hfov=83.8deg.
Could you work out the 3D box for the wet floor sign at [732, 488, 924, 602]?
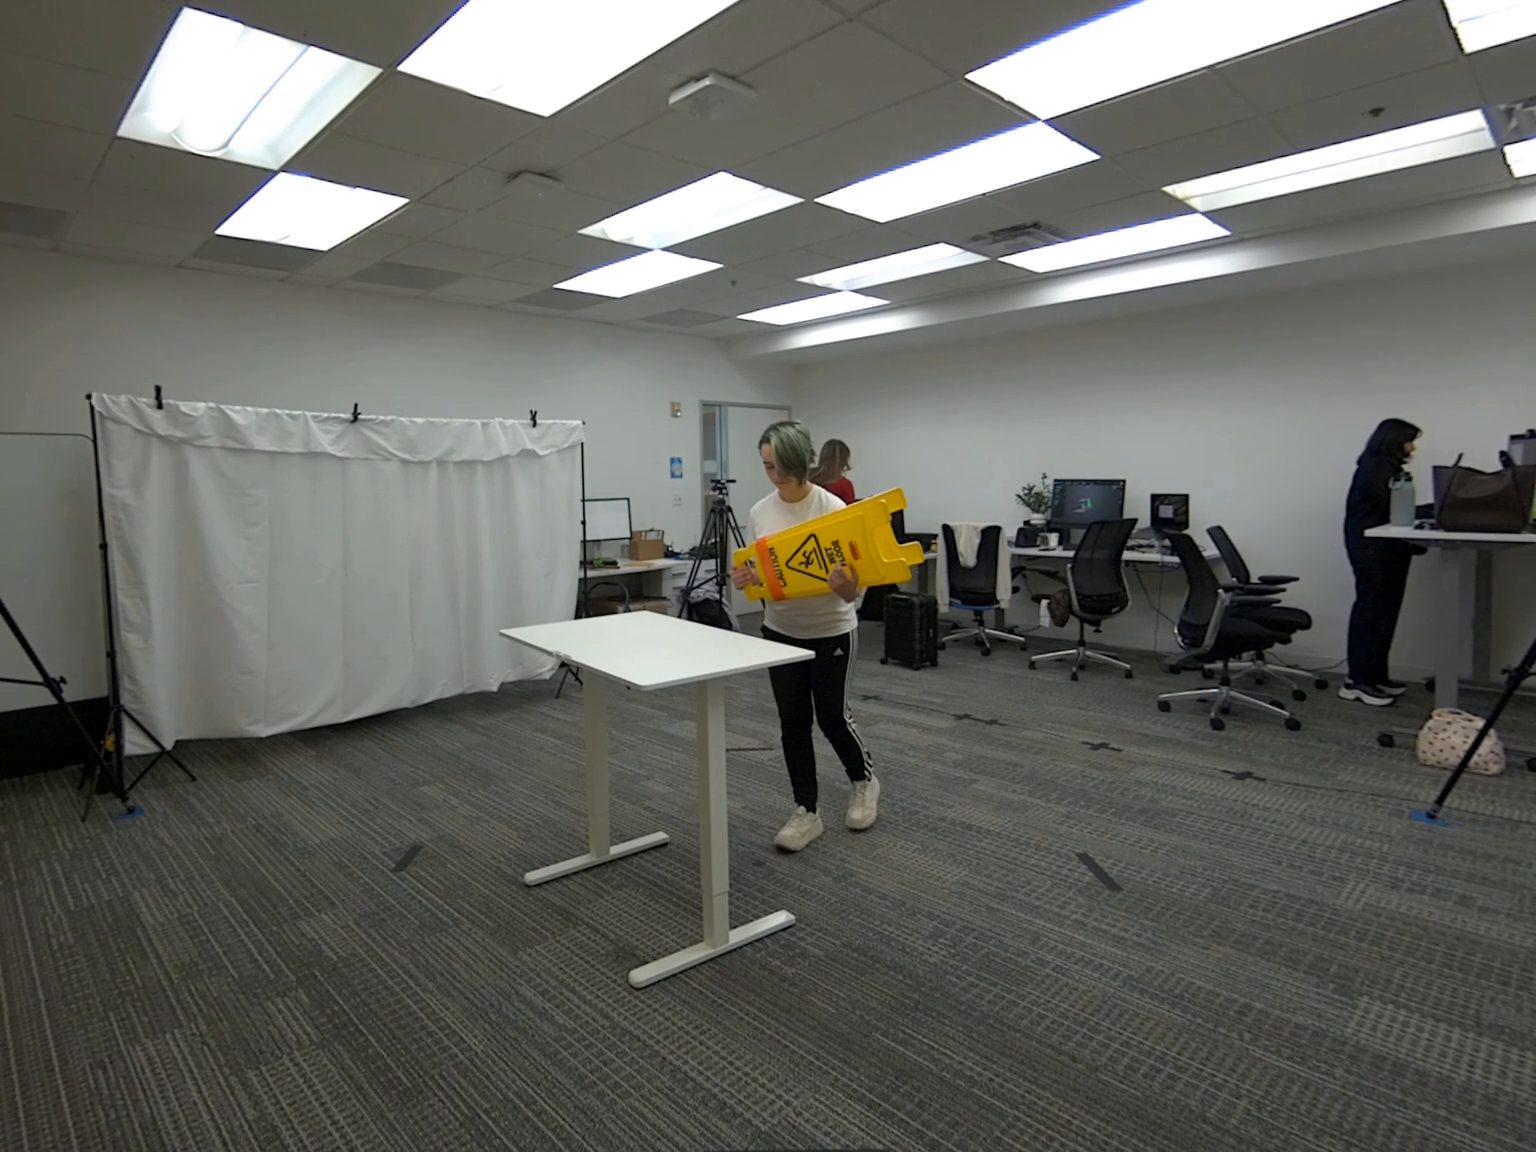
[{"bbox_3d":[0.187,-0.069,3.032,0.656,0.280,0.287,-17,7,25],"label":"wet floor sign"}]
